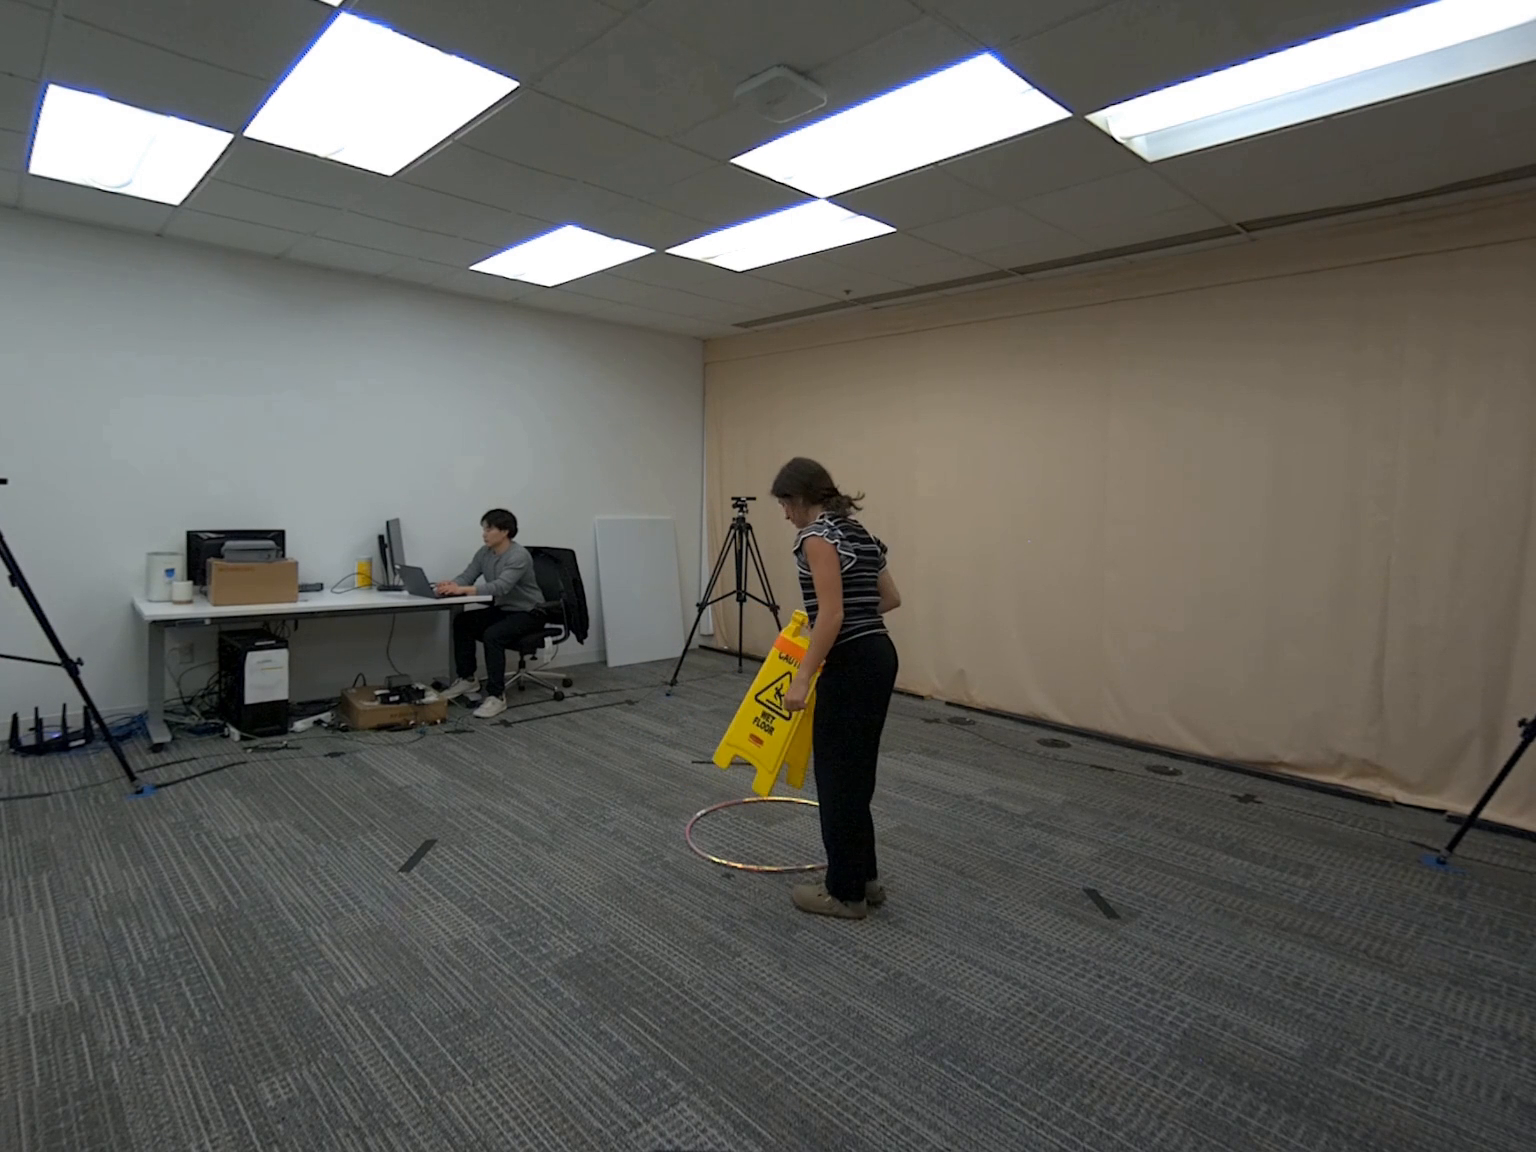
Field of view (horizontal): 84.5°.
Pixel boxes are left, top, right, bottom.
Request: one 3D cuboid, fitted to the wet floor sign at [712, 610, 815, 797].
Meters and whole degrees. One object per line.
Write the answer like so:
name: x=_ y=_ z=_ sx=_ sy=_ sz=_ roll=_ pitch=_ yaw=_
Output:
wet floor sign: x=0.063 y=0.466 z=3.163 sx=0.290 sy=0.644 sz=0.282 roll=25 pitch=8 yaw=35
